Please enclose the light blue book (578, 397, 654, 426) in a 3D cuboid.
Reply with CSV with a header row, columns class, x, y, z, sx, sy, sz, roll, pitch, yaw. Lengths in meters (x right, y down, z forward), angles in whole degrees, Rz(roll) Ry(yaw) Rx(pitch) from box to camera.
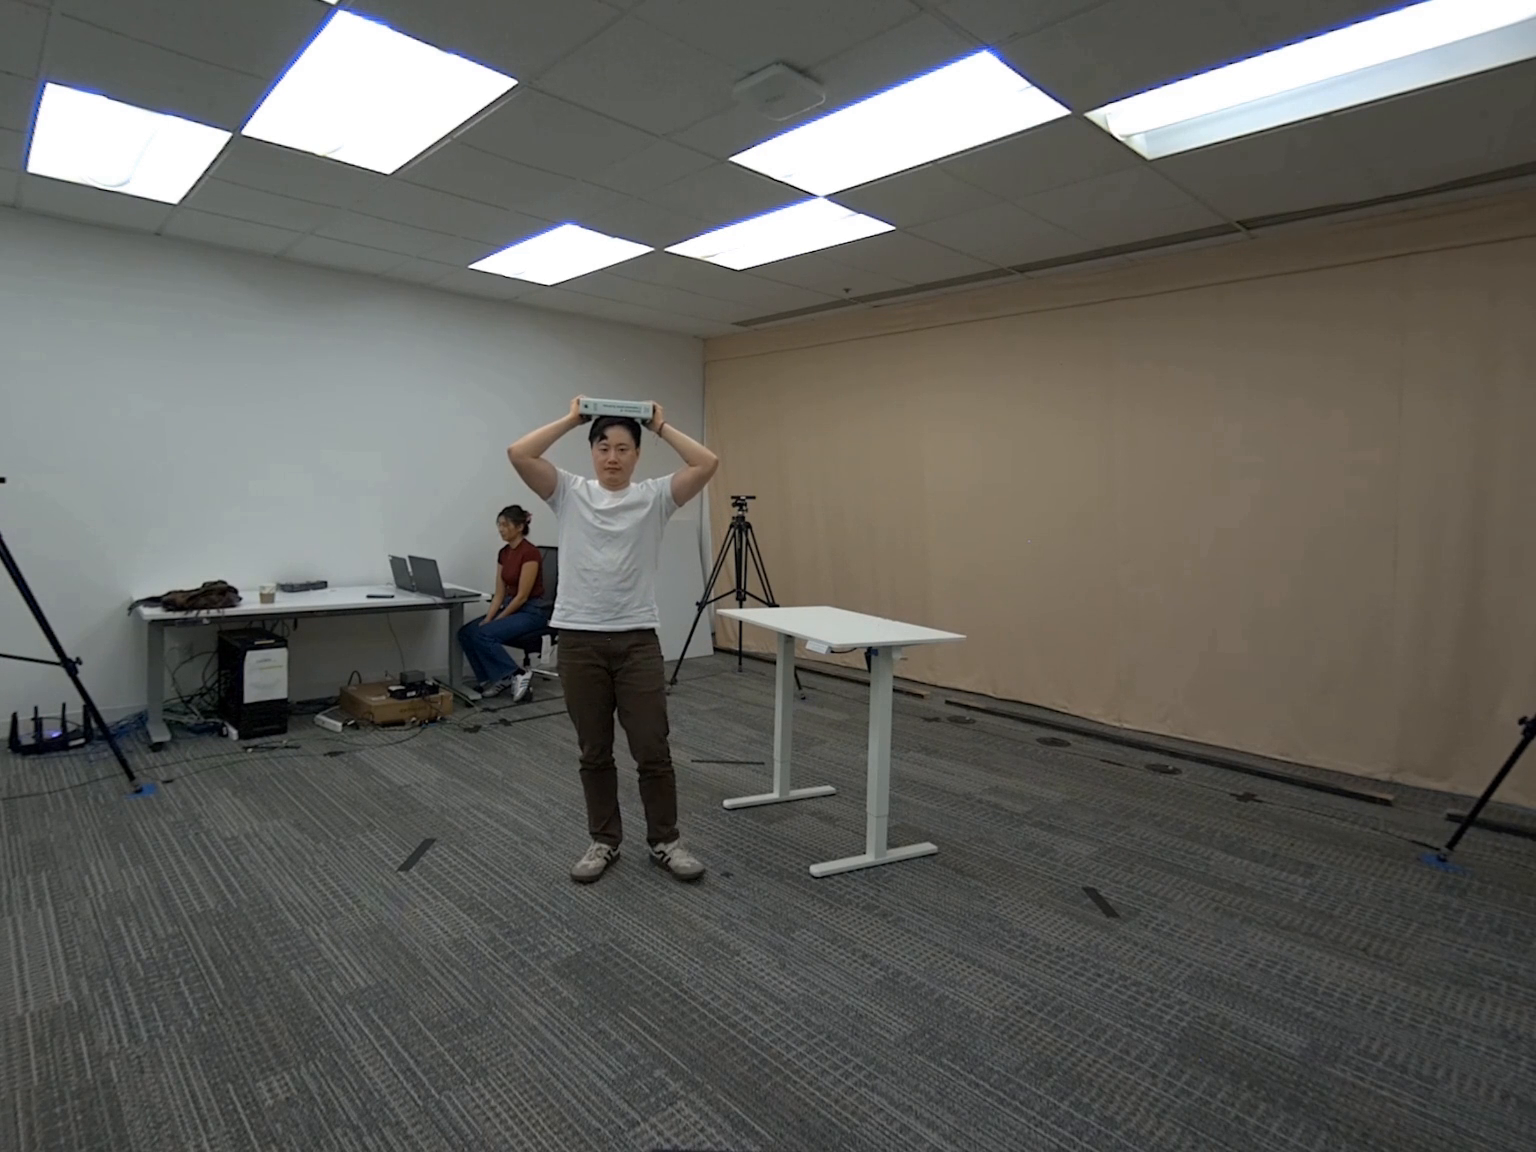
class,x,y,z,sx,sy,sz,roll,pitch,yaw
light blue book,-0.578,-0.613,3.104,0.259,0.059,0.193,3,3,-10
